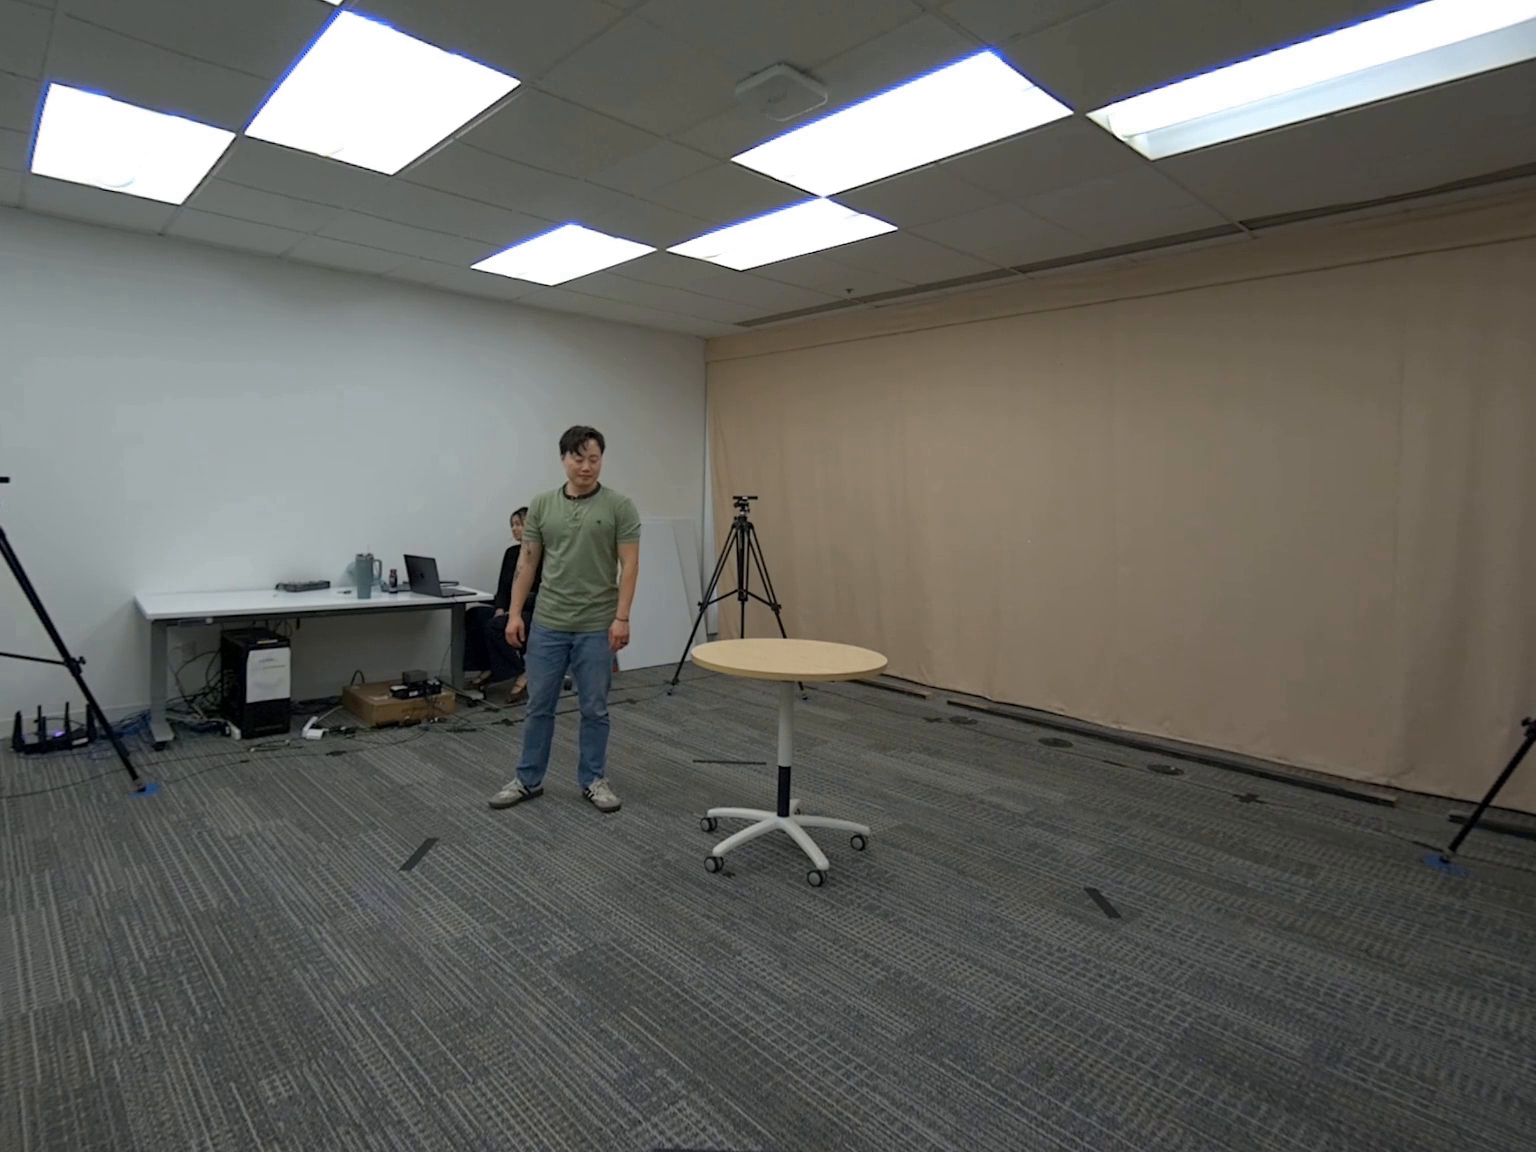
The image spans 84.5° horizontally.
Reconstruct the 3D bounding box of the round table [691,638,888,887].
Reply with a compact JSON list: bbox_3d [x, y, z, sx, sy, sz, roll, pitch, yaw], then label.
[{"bbox_3d":[0.052,0.701,3.316,0.763,0.792,0.766,2,4,-1],"label":"round table"}]
